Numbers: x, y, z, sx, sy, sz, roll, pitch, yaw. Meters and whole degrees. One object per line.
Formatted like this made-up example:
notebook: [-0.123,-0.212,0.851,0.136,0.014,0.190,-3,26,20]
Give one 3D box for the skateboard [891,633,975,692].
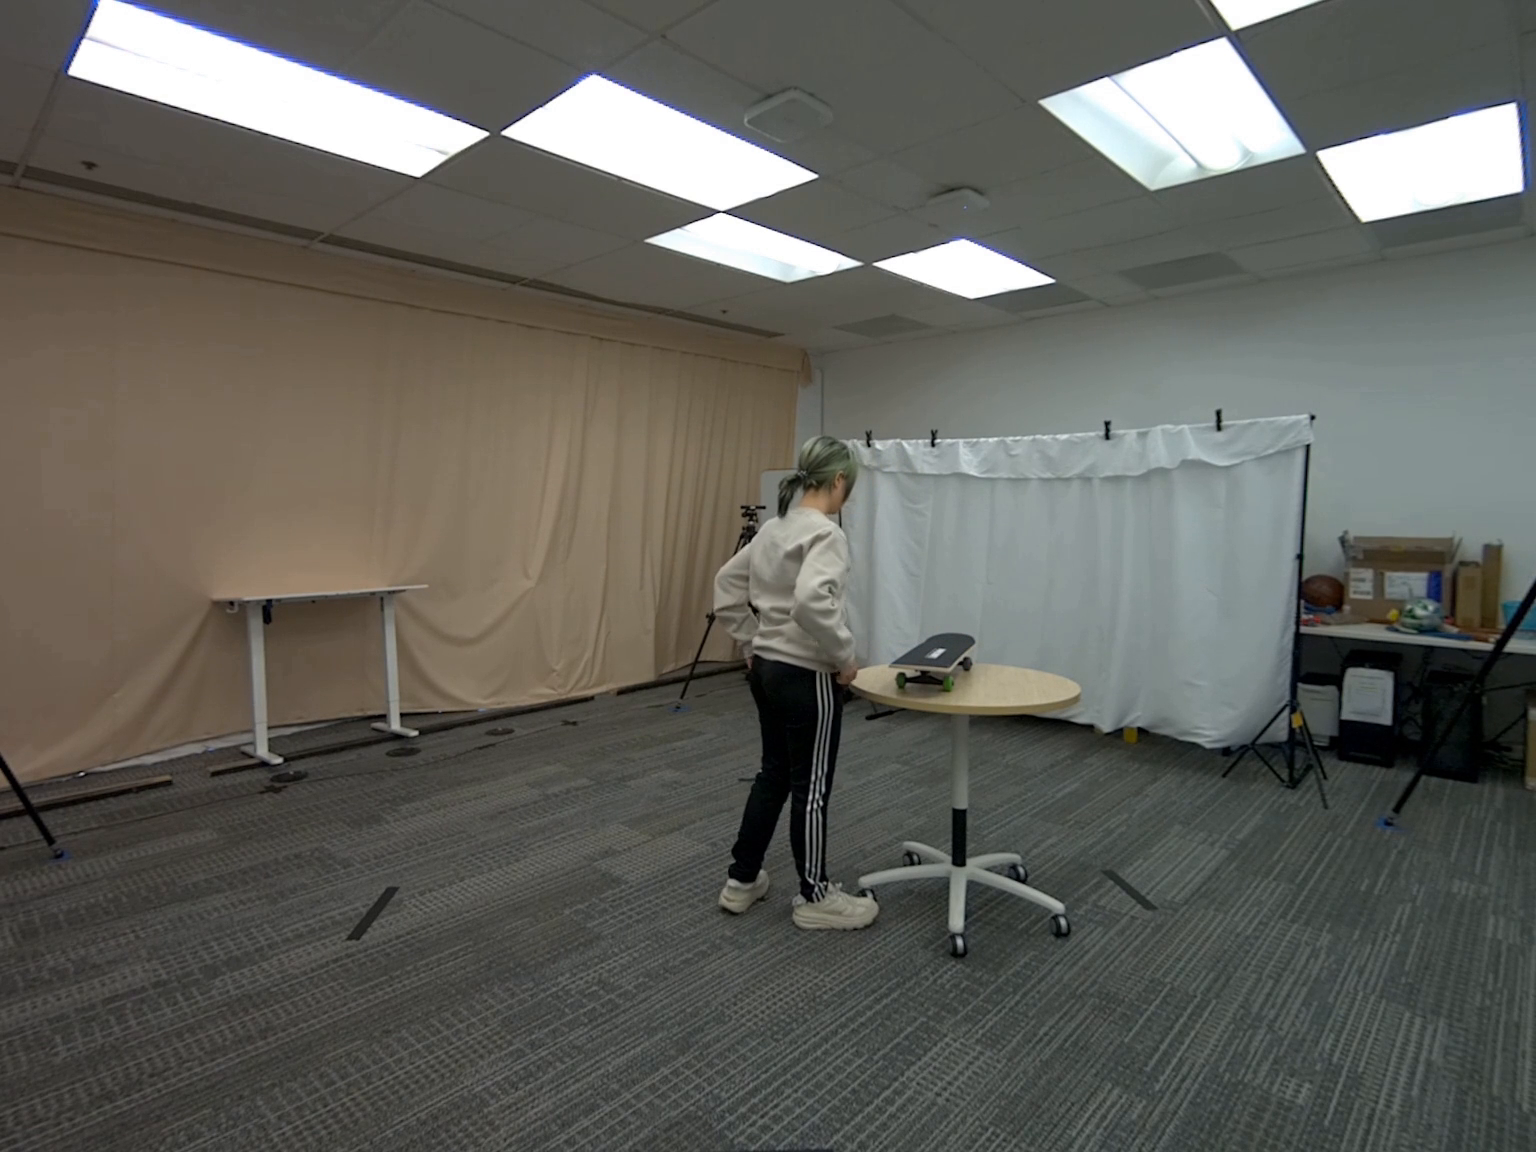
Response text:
skateboard: [0.600,0.312,2.947,0.198,0.110,0.768,0,4,23]
